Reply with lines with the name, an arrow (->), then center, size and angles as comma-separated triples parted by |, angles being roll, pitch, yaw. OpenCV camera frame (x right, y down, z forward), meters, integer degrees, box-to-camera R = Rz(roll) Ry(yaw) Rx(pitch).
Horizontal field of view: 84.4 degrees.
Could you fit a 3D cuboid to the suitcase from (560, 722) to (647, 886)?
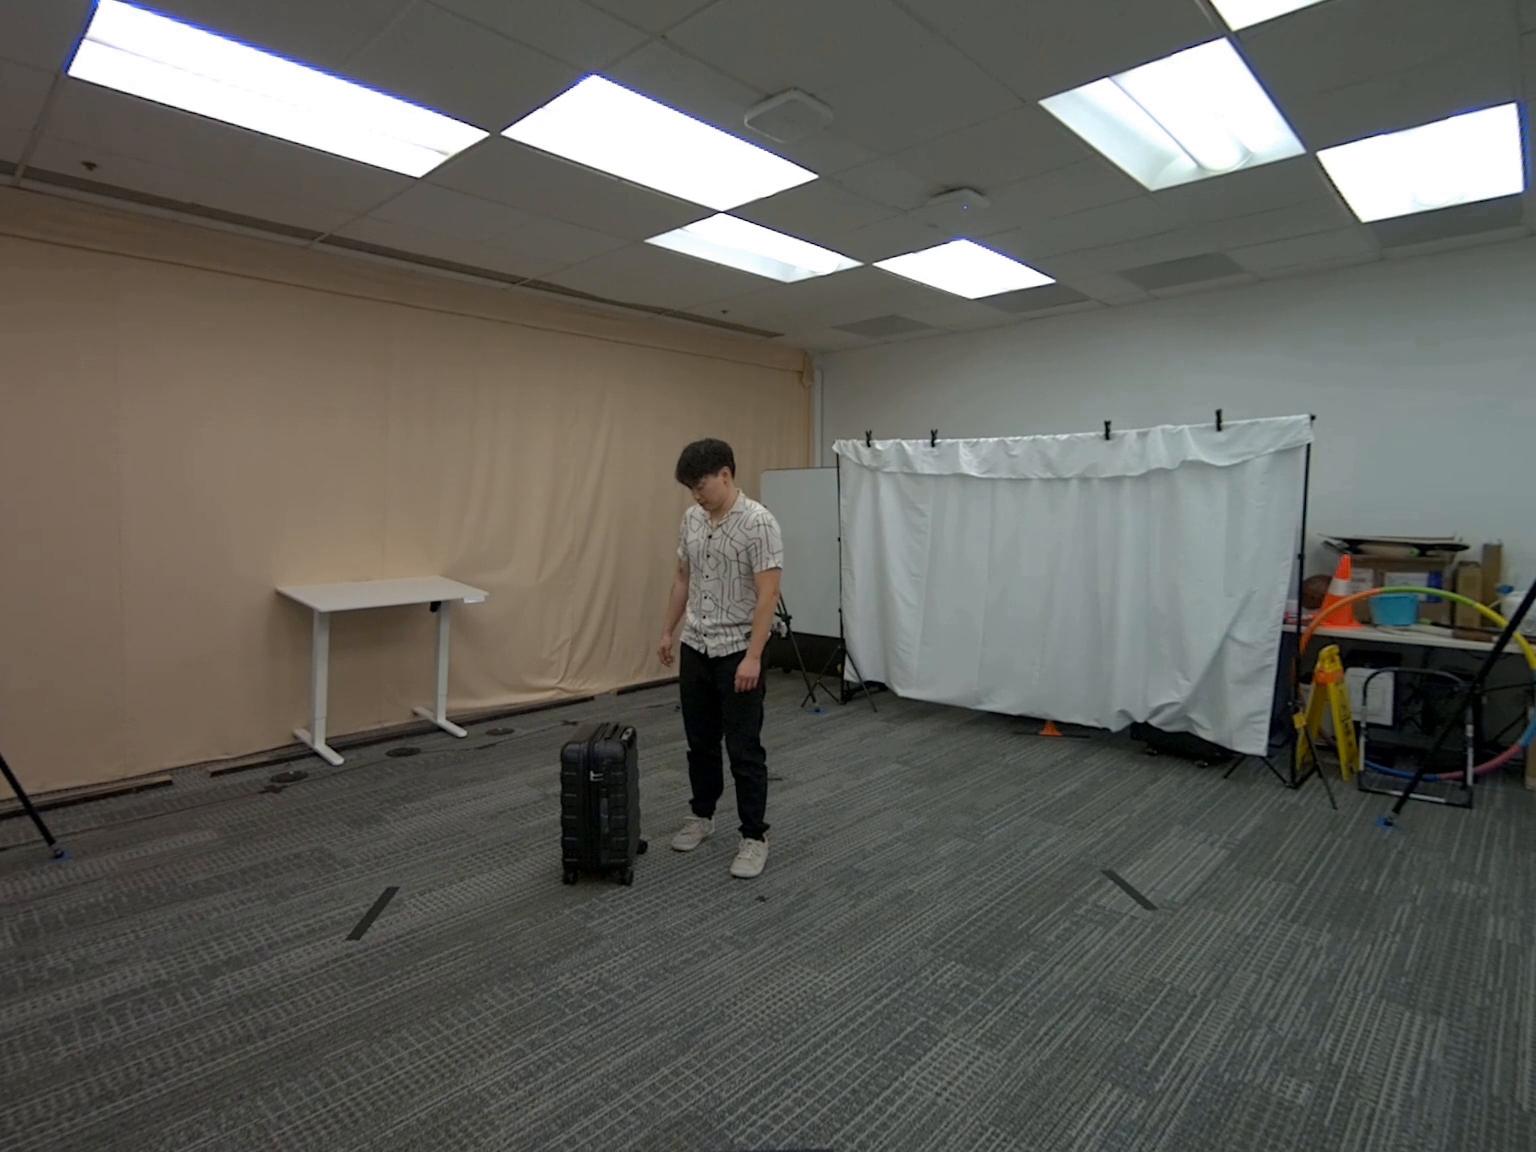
suitcase -> -0.639, 0.856, 3.220 | 0.249, 0.548, 0.376 | 0, 4, 1
